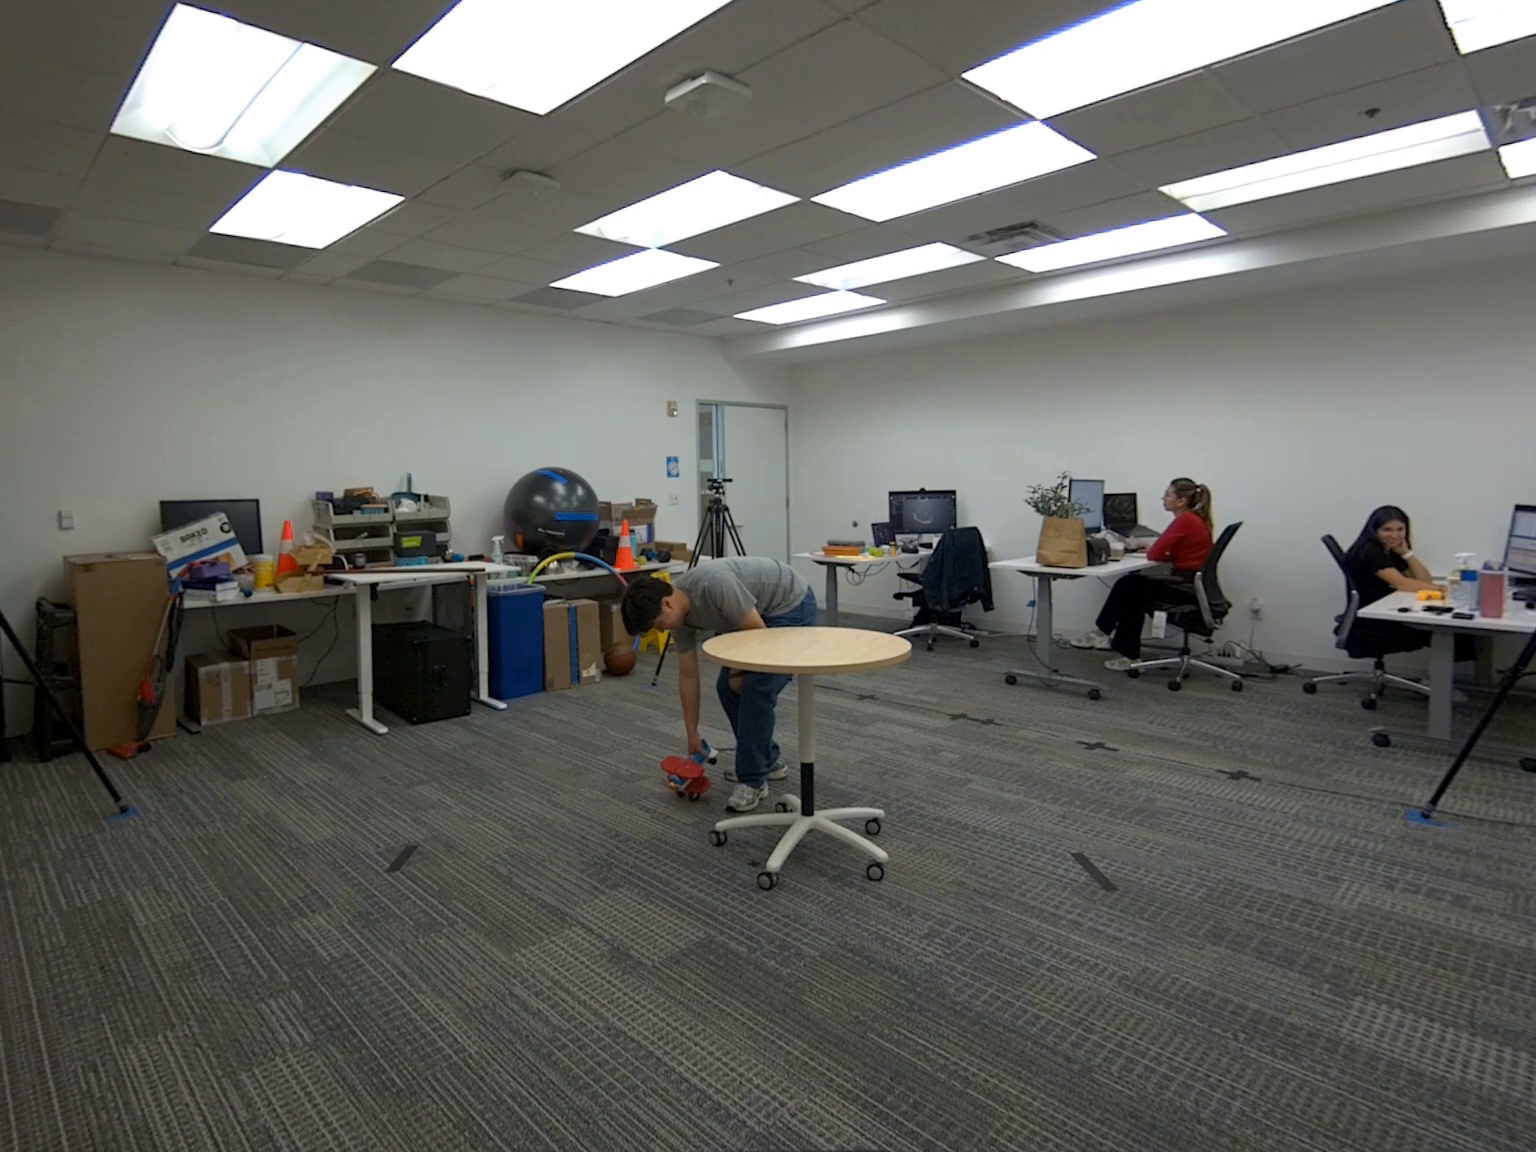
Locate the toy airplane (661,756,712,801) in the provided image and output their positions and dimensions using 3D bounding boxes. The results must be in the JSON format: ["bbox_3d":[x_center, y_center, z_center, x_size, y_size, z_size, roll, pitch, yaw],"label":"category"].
[{"bbox_3d":[-0.347,0.862,3.790,0.254,0.151,0.264,-19,36,24],"label":"toy airplane"}]
